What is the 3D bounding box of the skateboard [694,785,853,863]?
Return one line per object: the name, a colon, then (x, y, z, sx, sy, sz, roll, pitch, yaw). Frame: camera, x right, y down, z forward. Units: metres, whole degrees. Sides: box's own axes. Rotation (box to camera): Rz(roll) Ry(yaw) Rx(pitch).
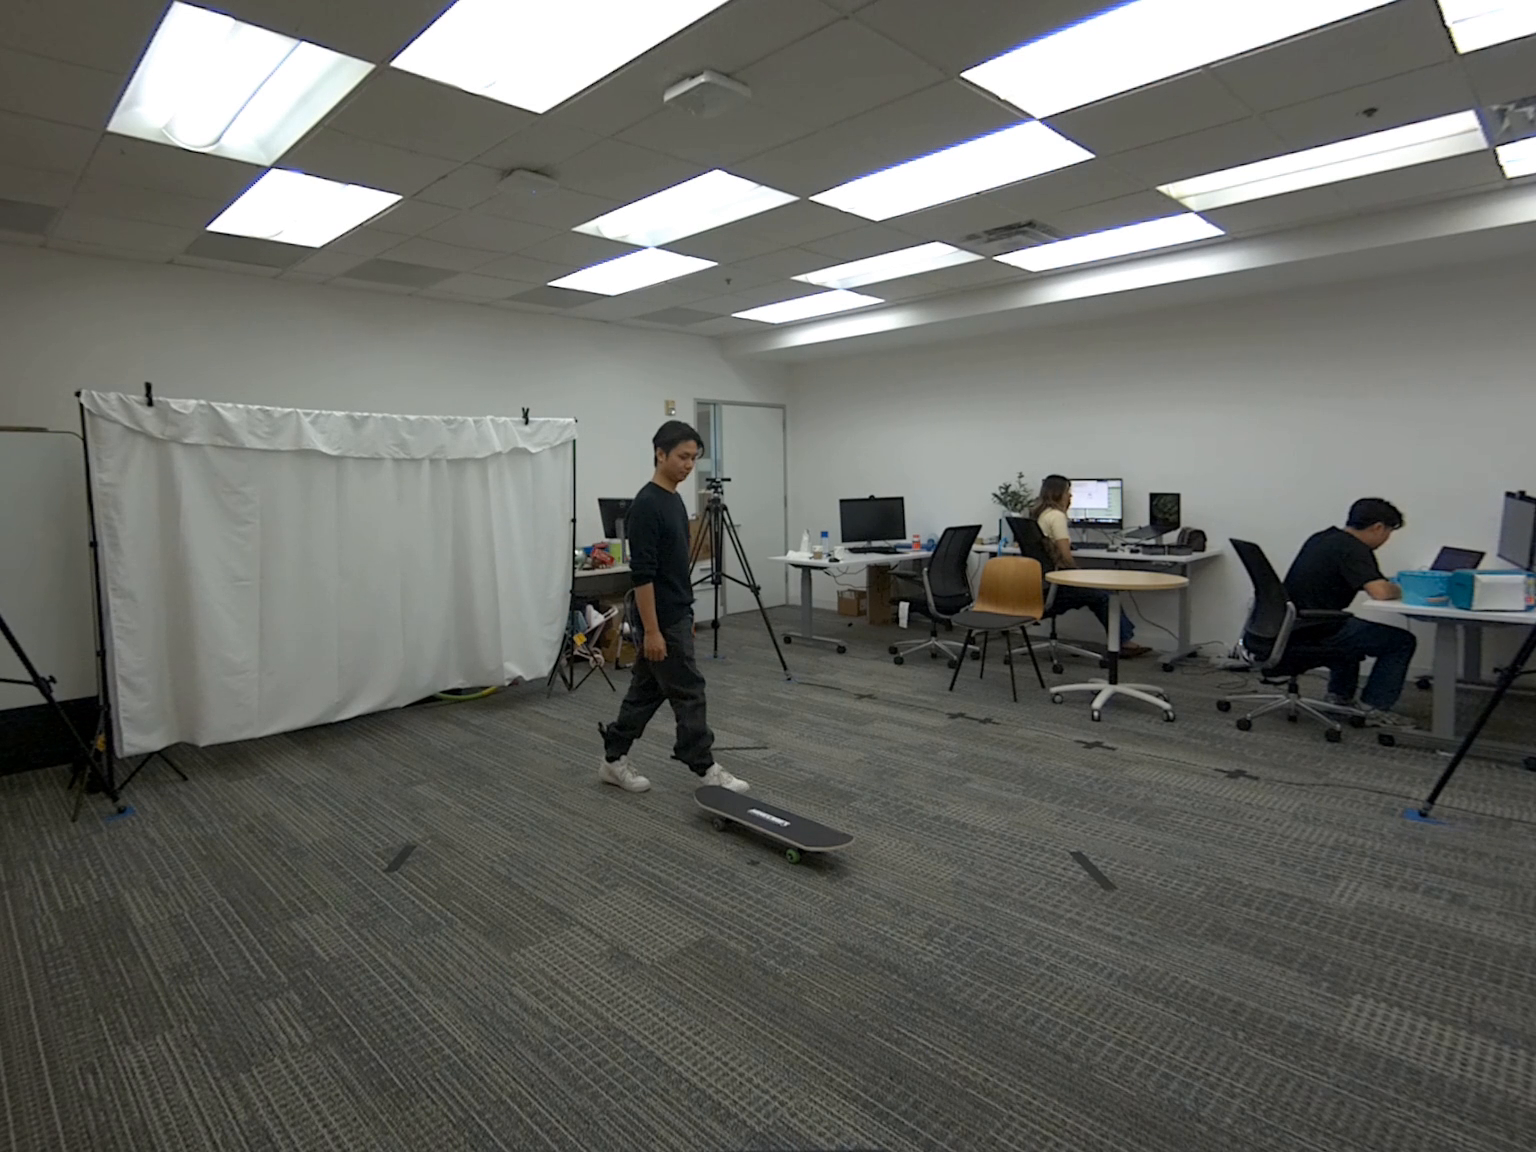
skateboard: (0.006, 0.965, 3.294, 0.188, 0.110, 0.810, -7, 9, -43)
